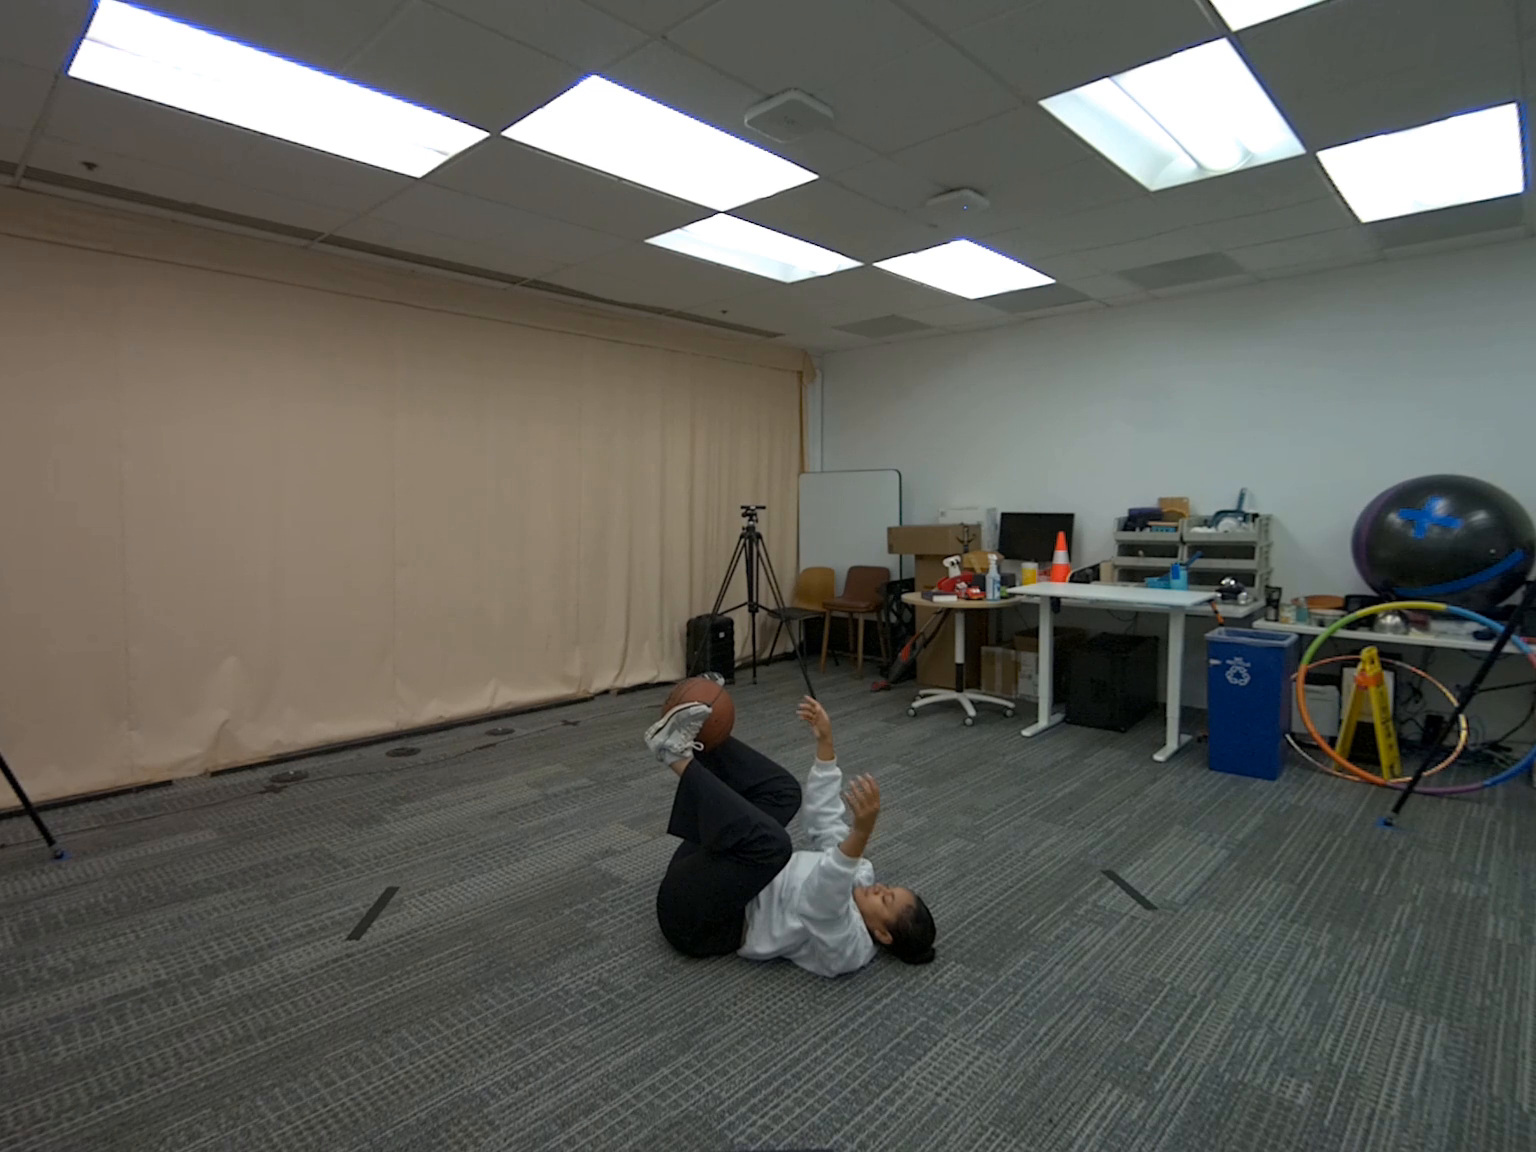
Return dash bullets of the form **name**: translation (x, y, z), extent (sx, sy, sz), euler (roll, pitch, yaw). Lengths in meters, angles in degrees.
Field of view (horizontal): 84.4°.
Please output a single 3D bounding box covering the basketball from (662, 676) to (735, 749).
- **basketball**: translation (-0.221, 0.446, 2.729), extent (0.236, 0.236, 0.236), euler (2, 0, -2)
